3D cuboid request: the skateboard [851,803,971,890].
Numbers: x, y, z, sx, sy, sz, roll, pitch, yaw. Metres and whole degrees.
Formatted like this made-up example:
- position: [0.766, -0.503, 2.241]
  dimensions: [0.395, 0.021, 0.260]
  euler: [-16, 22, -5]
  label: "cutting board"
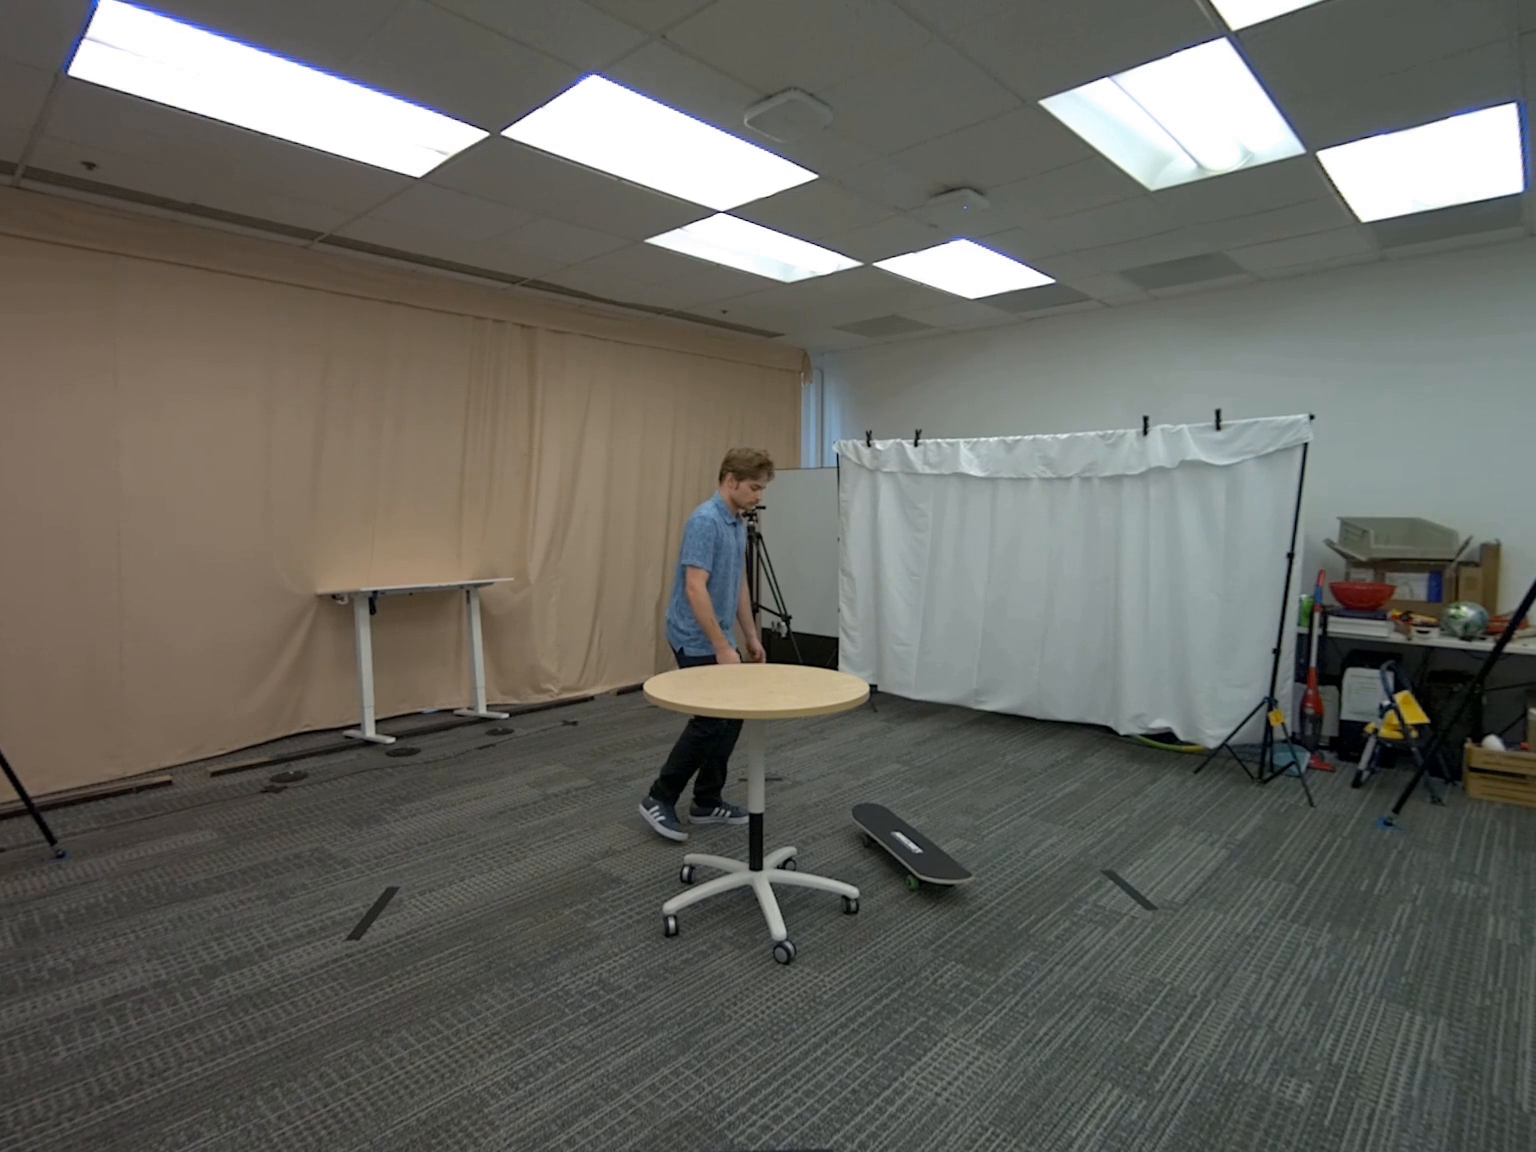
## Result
- position: [0.543, 1.065, 3.264]
  dimensions: [0.190, 0.110, 0.800]
  euler: [-1, 4, -17]
  label: "skateboard"
